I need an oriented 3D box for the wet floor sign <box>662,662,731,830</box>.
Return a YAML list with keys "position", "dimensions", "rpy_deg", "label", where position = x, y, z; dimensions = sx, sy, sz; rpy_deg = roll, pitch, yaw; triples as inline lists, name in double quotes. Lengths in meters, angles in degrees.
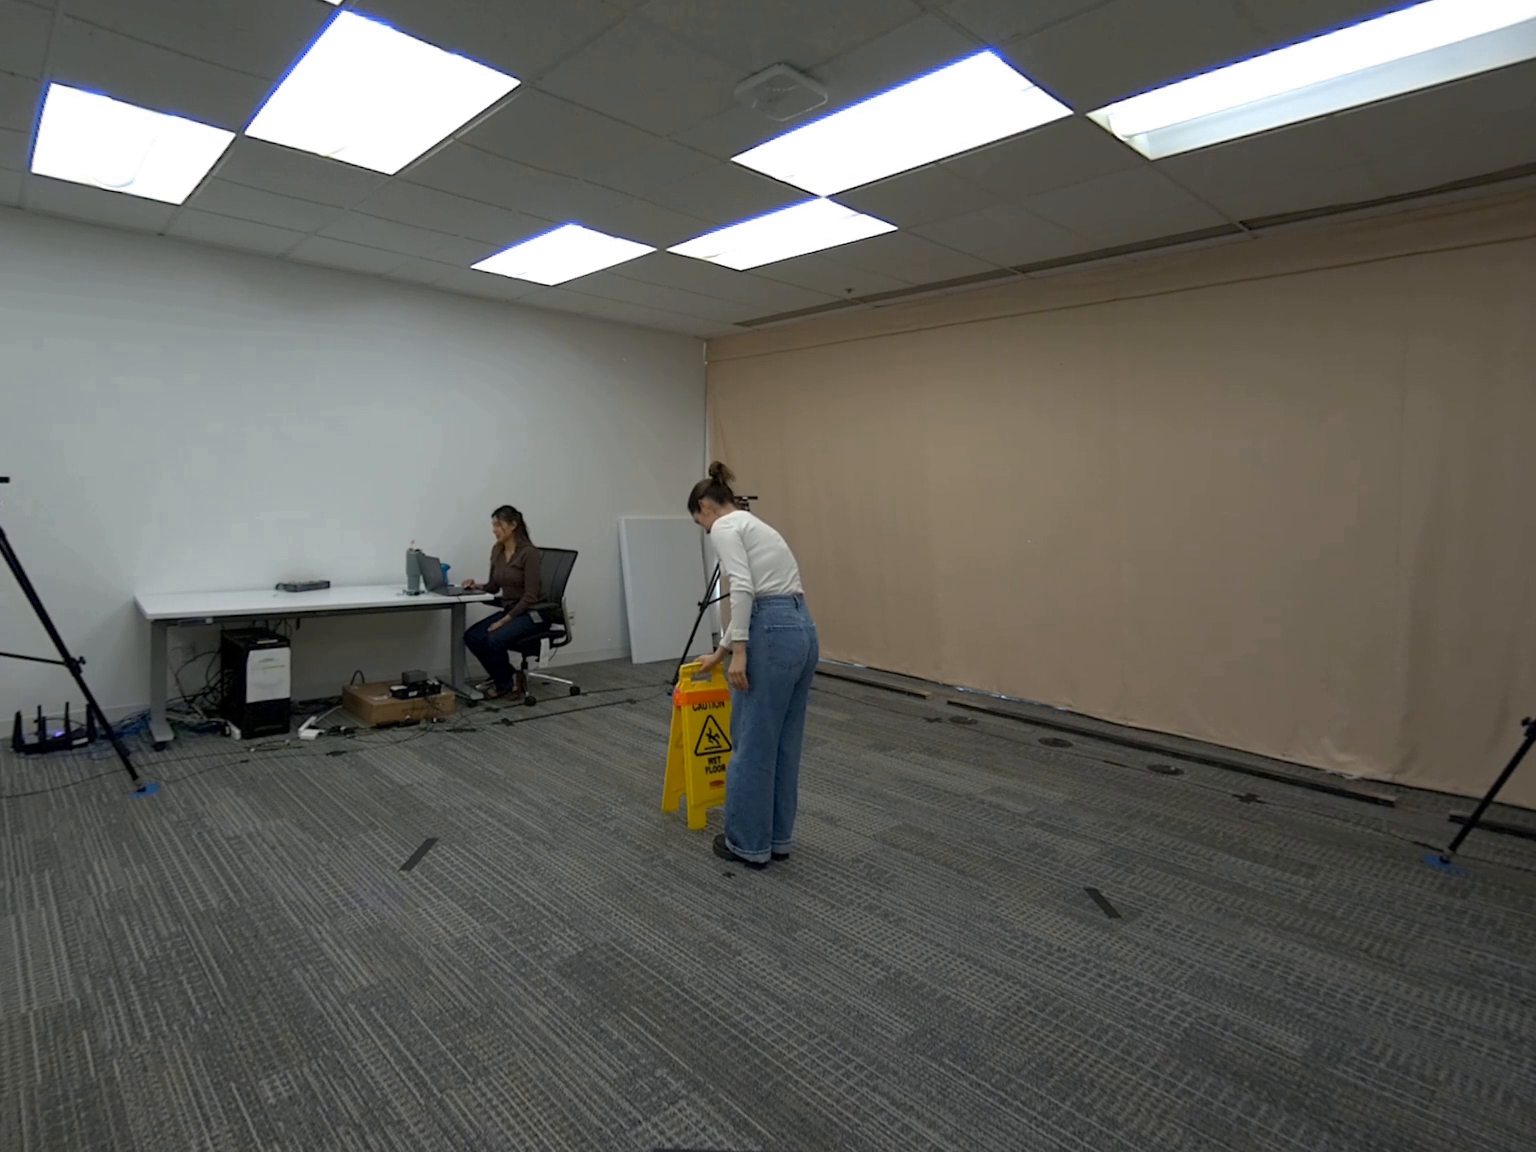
- position: [-0.287, 0.690, 3.575]
  dimensions: [0.276, 0.646, 0.295]
  rpy_deg: [-1, -1, -30]
  label: "wet floor sign"
